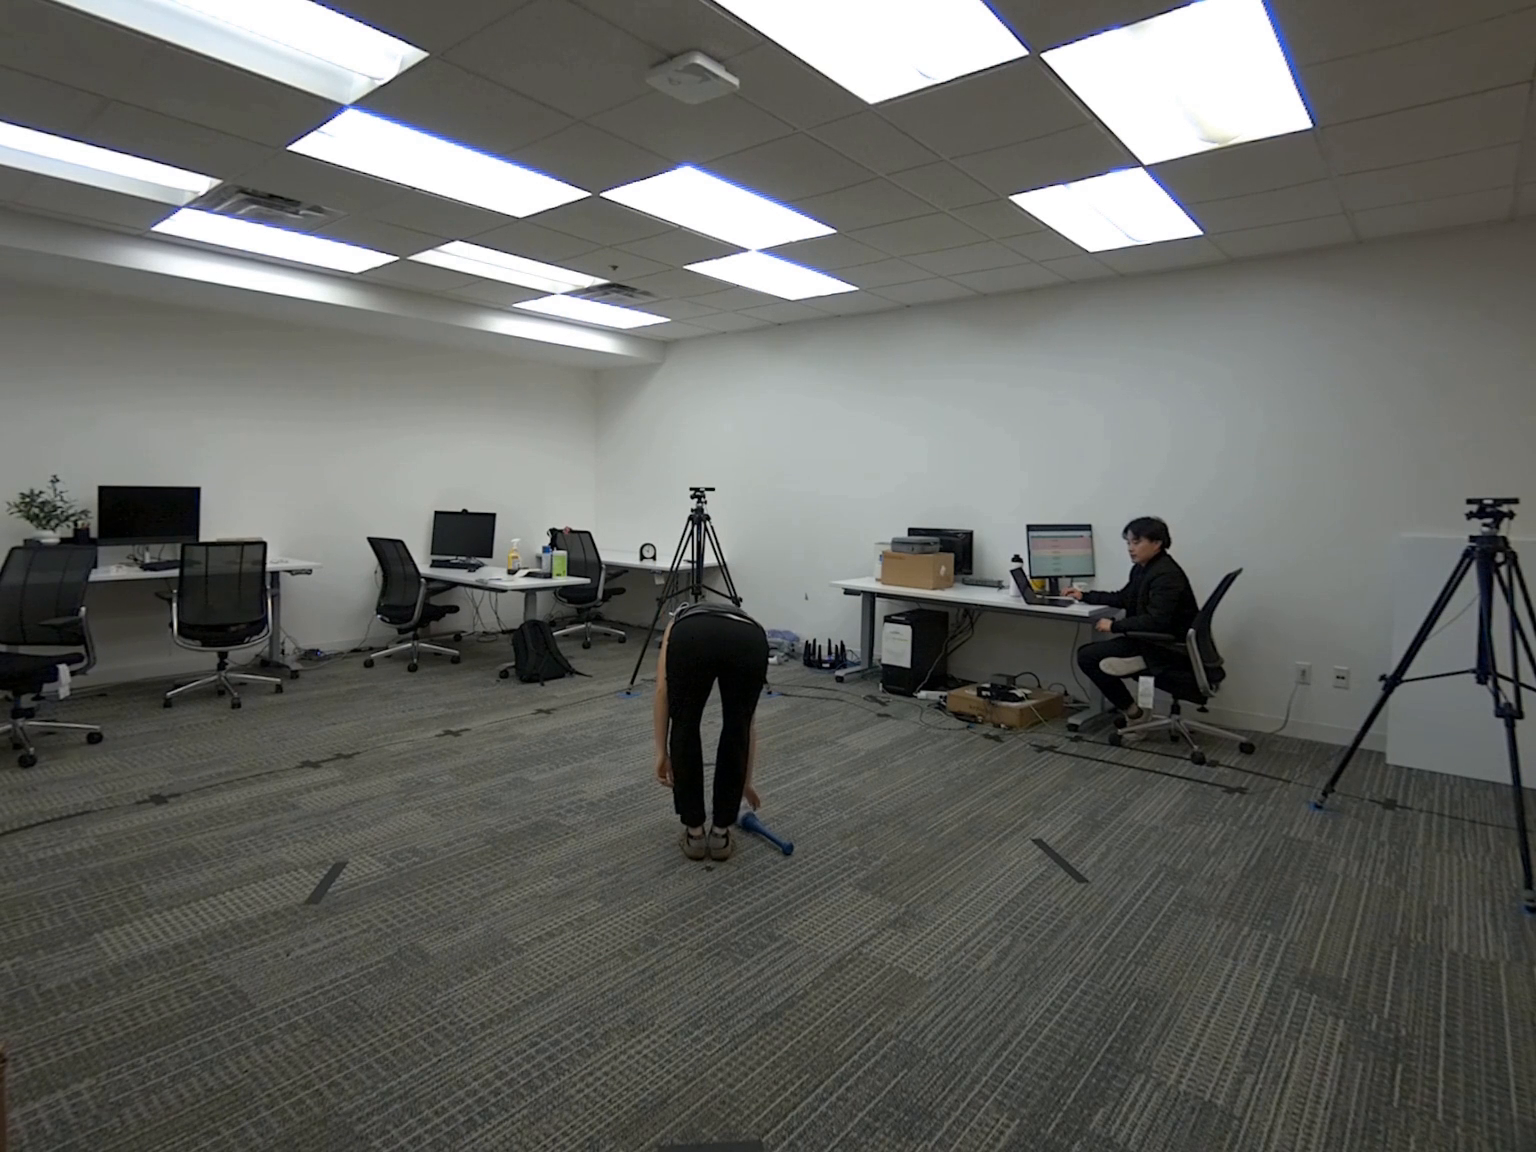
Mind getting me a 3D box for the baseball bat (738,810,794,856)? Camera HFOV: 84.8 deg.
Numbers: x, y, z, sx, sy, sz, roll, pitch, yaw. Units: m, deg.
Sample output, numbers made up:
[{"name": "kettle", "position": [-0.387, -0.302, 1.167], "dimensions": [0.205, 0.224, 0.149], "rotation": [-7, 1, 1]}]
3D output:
[{"name": "baseball bat", "position": [-0.080, 0.999, 3.465], "dimensions": [0.086, 0.088, 0.561], "rotation": [-2, 10, -31]}]
